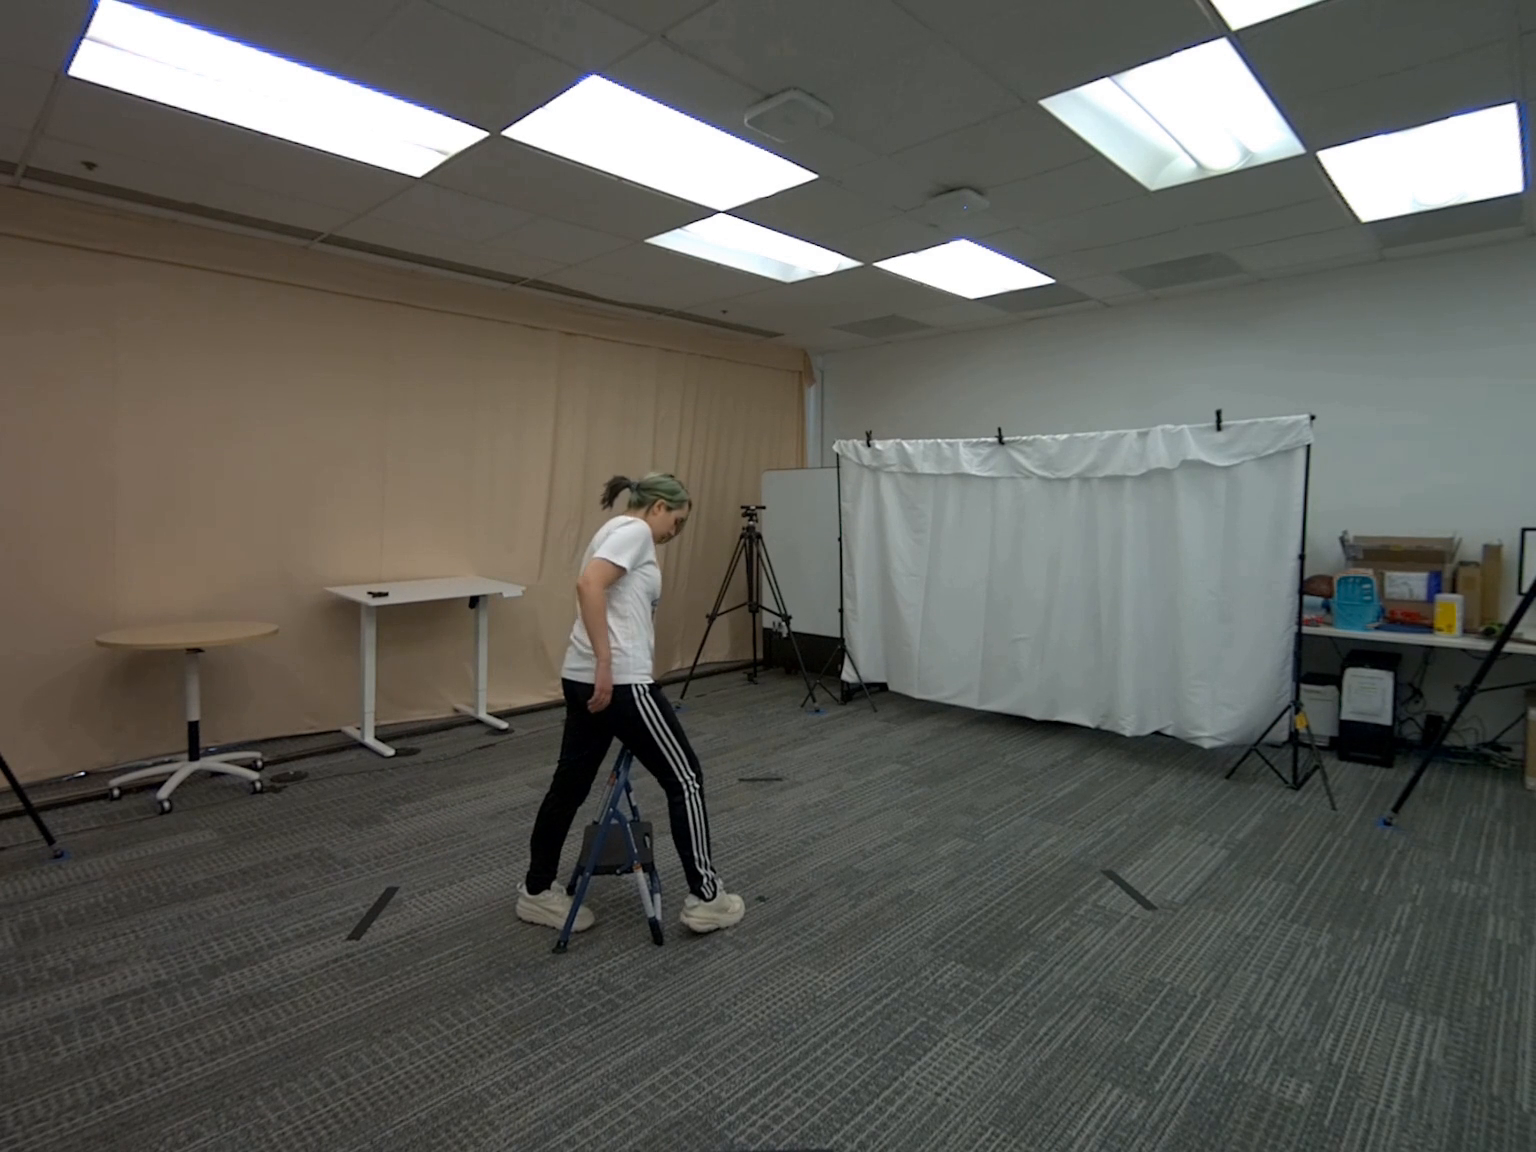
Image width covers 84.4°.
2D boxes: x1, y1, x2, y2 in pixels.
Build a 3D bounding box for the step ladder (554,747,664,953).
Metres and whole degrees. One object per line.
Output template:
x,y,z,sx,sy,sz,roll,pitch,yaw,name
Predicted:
-0.535,0.860,2.840,0.347,0.604,0.434,0,4,-7,step ladder
